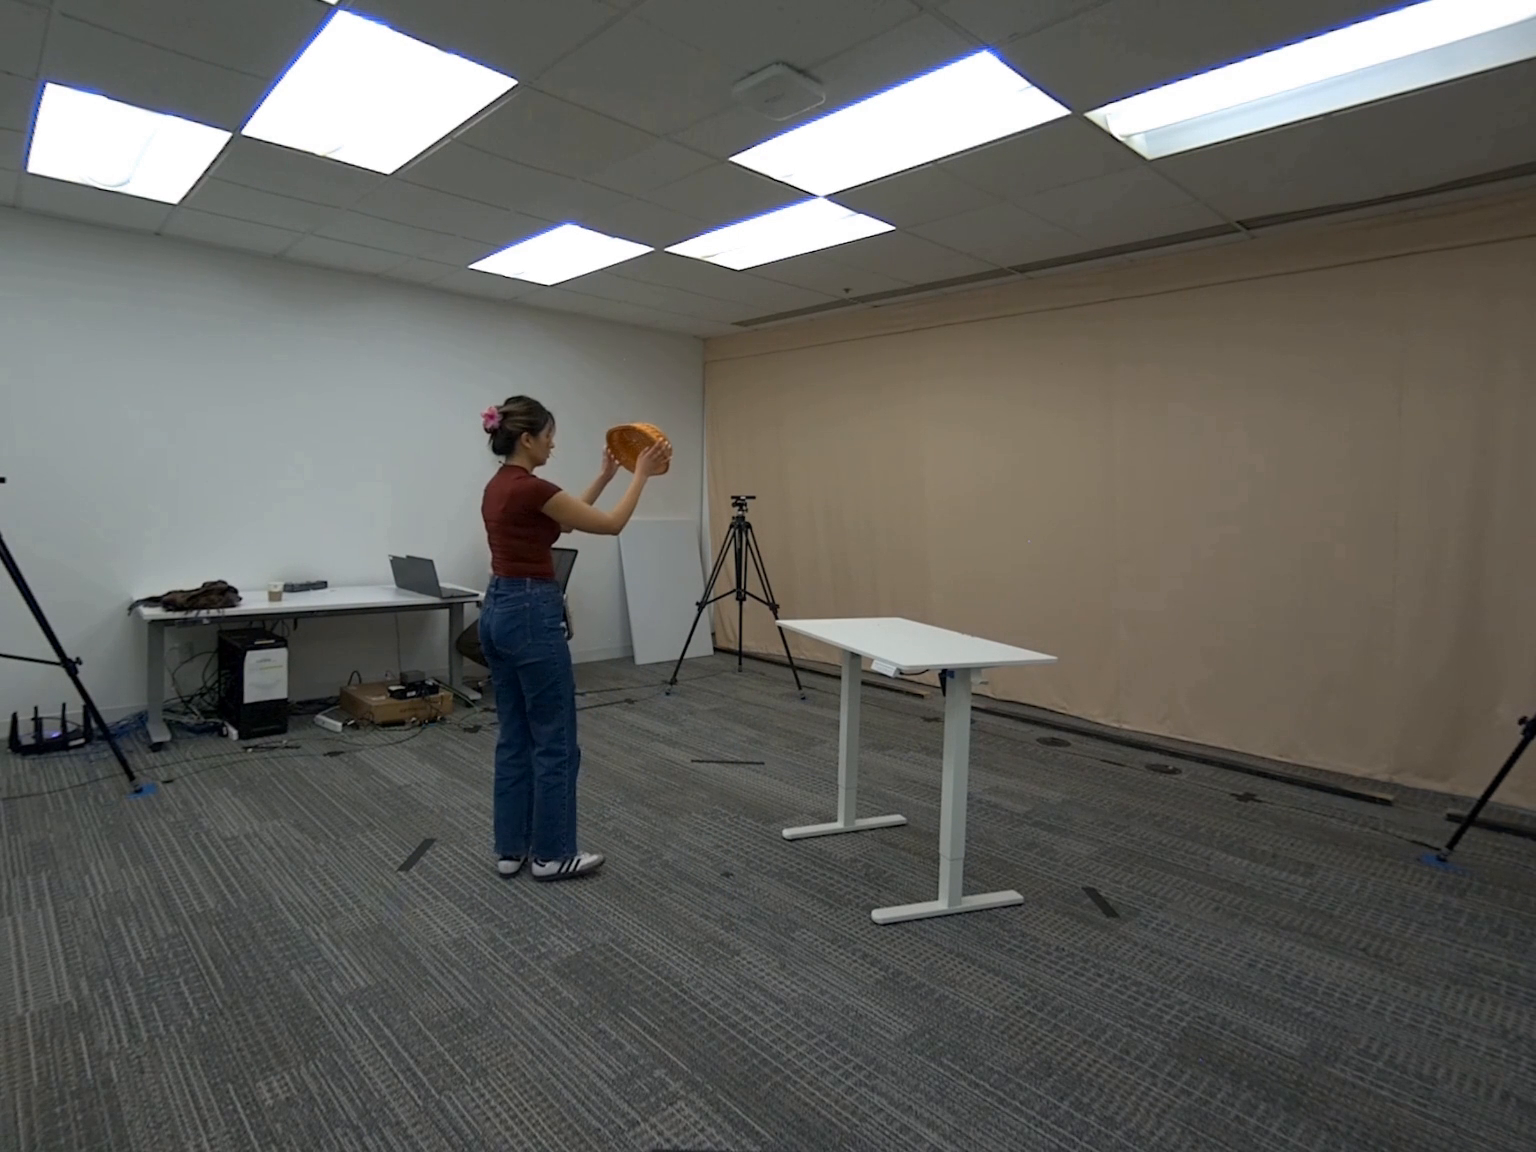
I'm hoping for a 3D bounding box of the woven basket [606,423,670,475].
[{"bbox_3d":[-0.516,-0.517,3.349,0.359,0.246,0.073,6,46,46],"label":"woven basket"}]
